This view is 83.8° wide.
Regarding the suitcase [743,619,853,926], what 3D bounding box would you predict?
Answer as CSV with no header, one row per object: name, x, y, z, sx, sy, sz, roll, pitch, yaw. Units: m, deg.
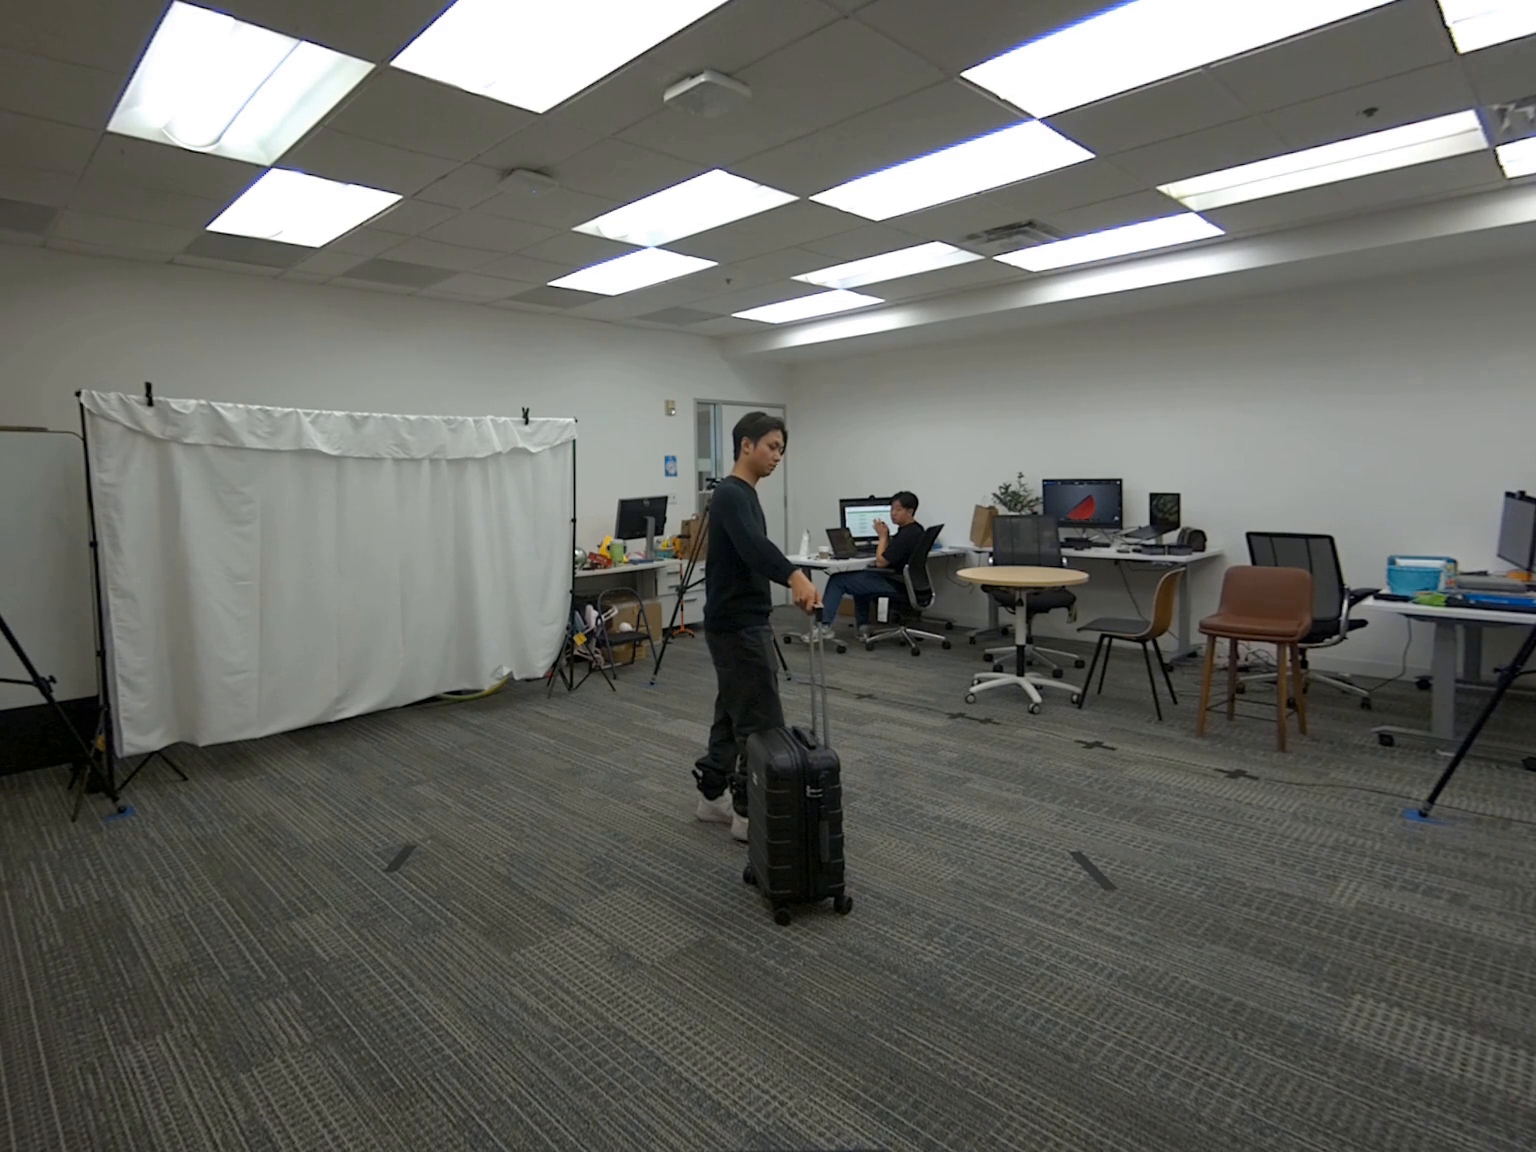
suitcase,0.075,0.598,2.818,0.254,0.975,0.389,-5,4,-12
